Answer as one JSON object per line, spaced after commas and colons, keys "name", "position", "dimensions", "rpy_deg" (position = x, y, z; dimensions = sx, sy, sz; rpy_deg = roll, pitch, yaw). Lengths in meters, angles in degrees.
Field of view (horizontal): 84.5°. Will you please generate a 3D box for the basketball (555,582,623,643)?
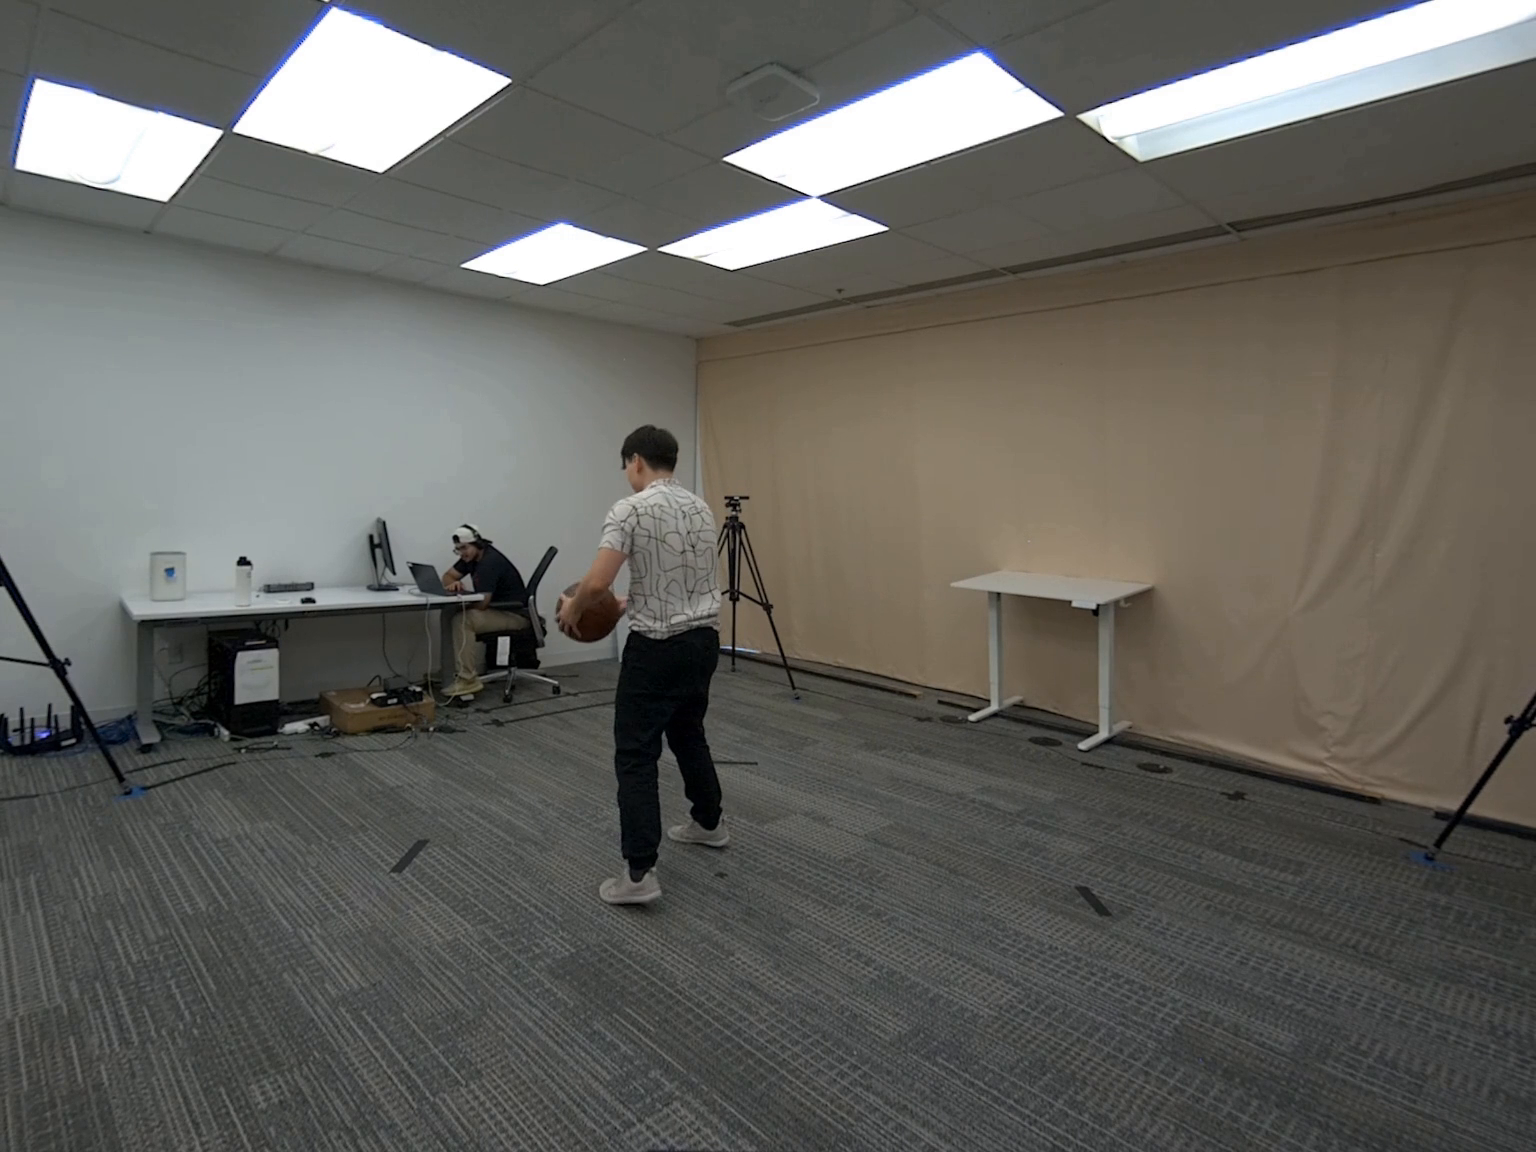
{"name": "basketball", "position": [-0.685, 0.139, 3.227], "dimensions": [0.236, 0.235, 0.237], "rpy_deg": [1, 4, -1]}
